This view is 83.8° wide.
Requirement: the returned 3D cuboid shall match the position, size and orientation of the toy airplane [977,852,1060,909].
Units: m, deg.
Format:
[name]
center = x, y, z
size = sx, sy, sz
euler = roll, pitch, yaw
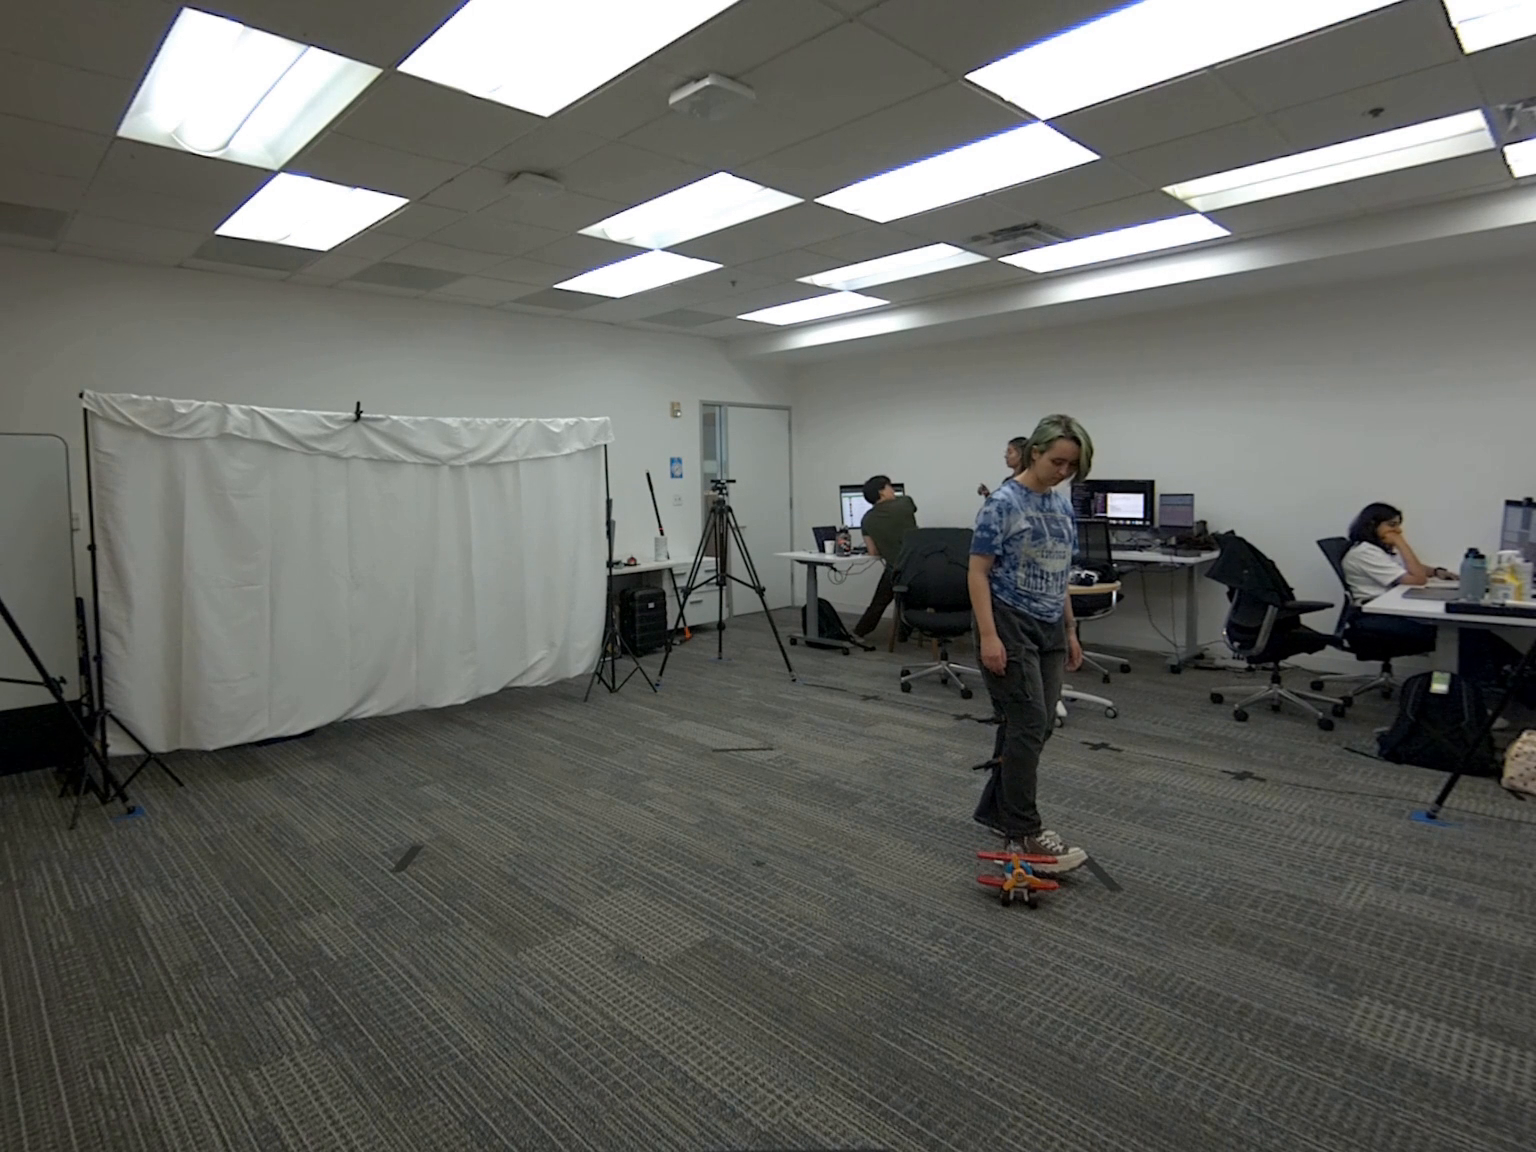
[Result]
[toy airplane]
center = 0.812, 0.990, 2.850
size = 0.248, 0.155, 0.264
euler = -5, 8, -13
